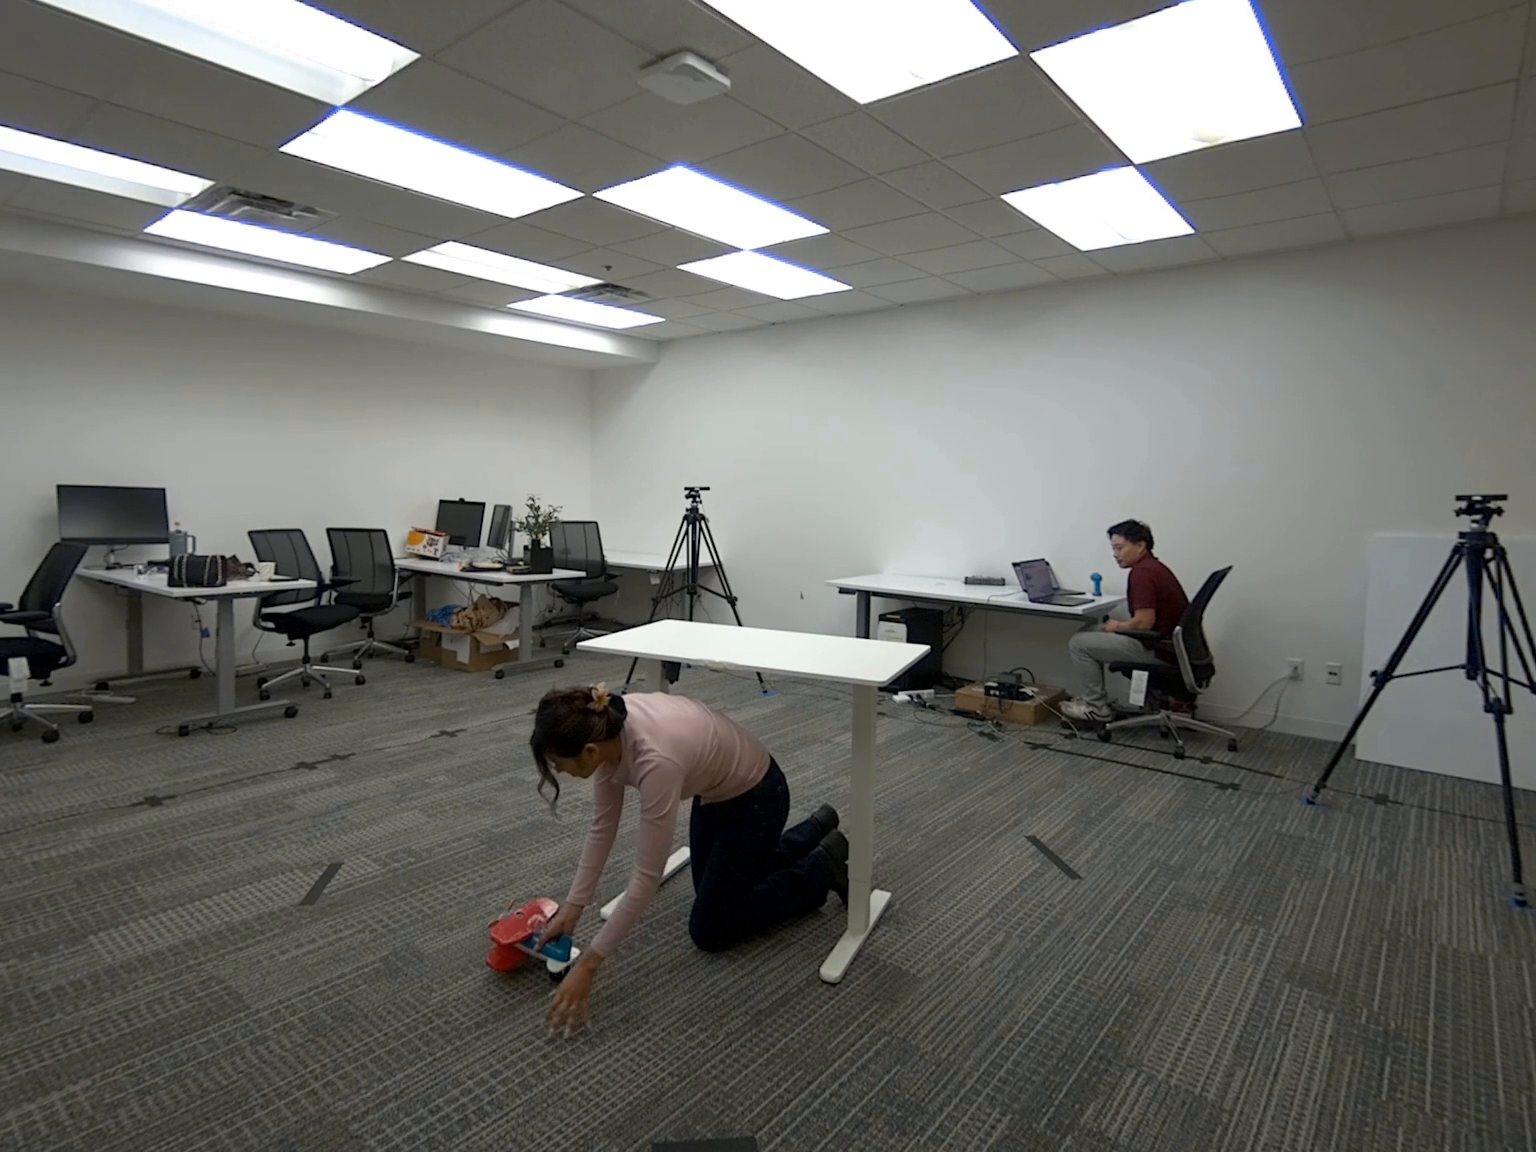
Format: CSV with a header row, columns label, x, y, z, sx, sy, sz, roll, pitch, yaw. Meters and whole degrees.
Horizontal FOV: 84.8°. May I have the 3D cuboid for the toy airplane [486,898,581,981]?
label,x,y,z,sx,sy,sz,roll,pitch,yaw
toy airplane,-0.678,1.053,2.467,0.258,0.156,0.253,-1,5,-4
